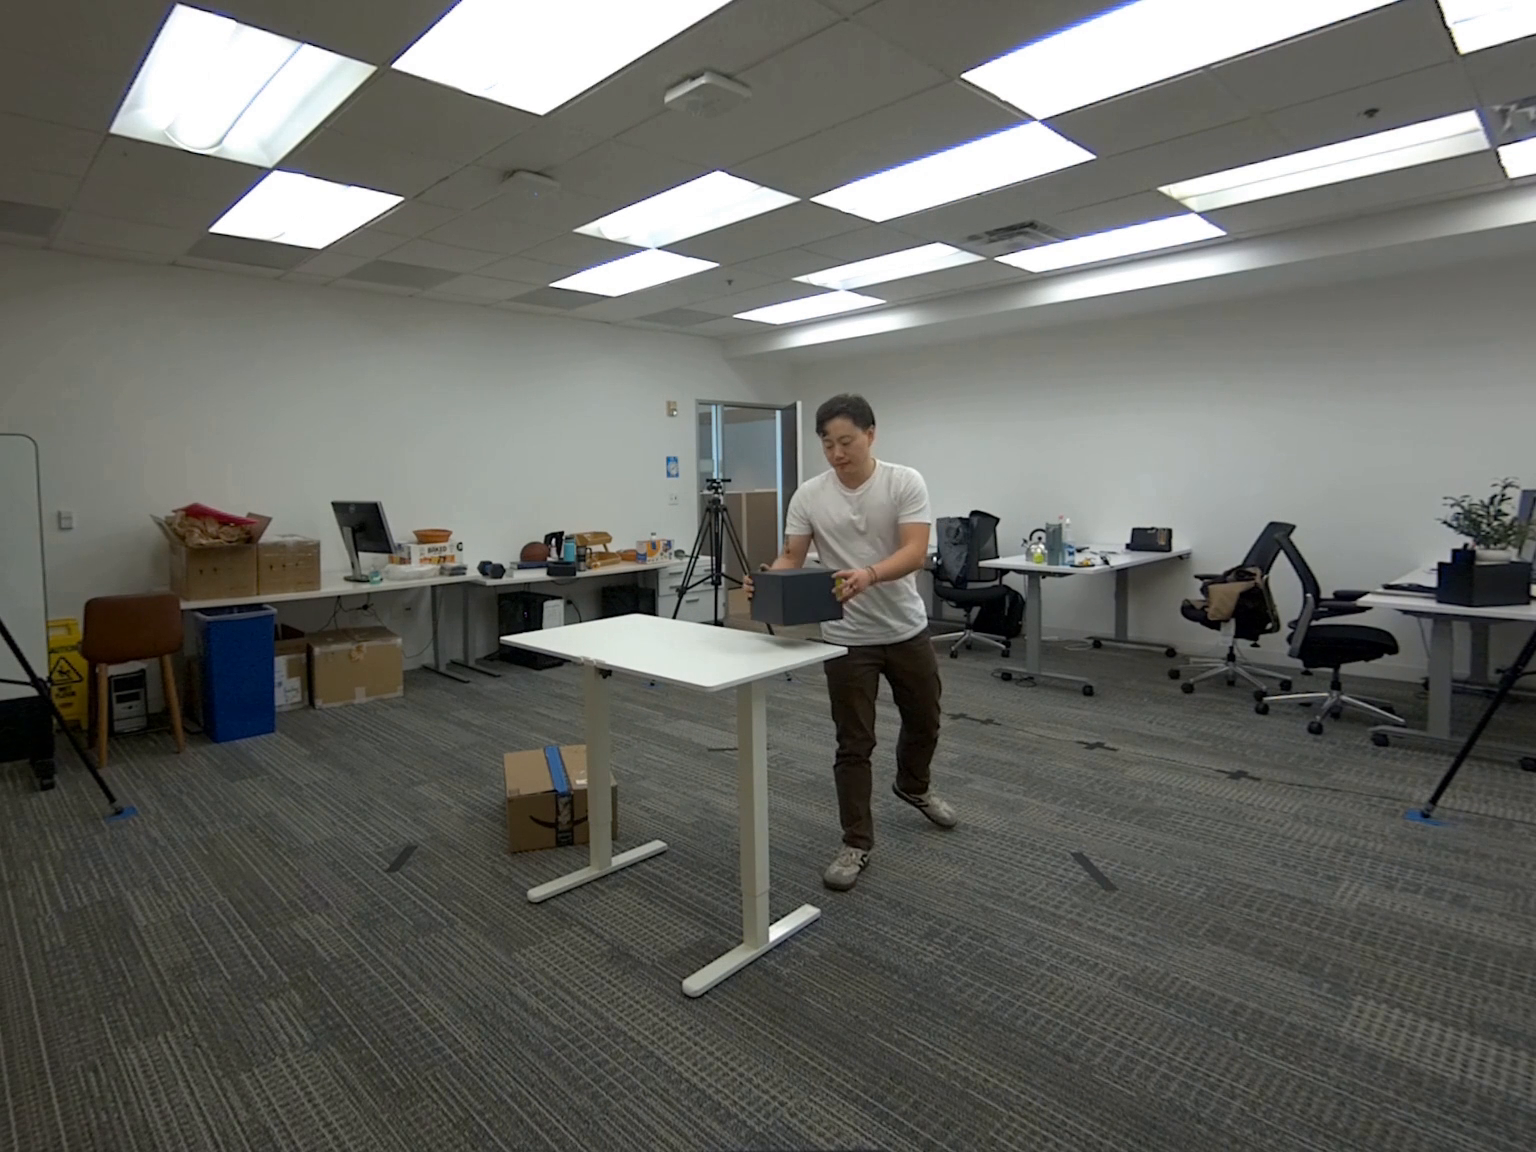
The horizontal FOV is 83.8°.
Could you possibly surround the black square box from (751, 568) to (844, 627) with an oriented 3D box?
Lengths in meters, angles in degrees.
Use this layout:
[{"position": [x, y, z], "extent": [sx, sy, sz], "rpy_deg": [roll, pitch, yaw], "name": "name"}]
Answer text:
[{"position": [0.092, 0.067, 2.699], "extent": [0.212, 0.155, 0.233], "rpy_deg": [-5, 4, -25], "name": "black square box"}]
